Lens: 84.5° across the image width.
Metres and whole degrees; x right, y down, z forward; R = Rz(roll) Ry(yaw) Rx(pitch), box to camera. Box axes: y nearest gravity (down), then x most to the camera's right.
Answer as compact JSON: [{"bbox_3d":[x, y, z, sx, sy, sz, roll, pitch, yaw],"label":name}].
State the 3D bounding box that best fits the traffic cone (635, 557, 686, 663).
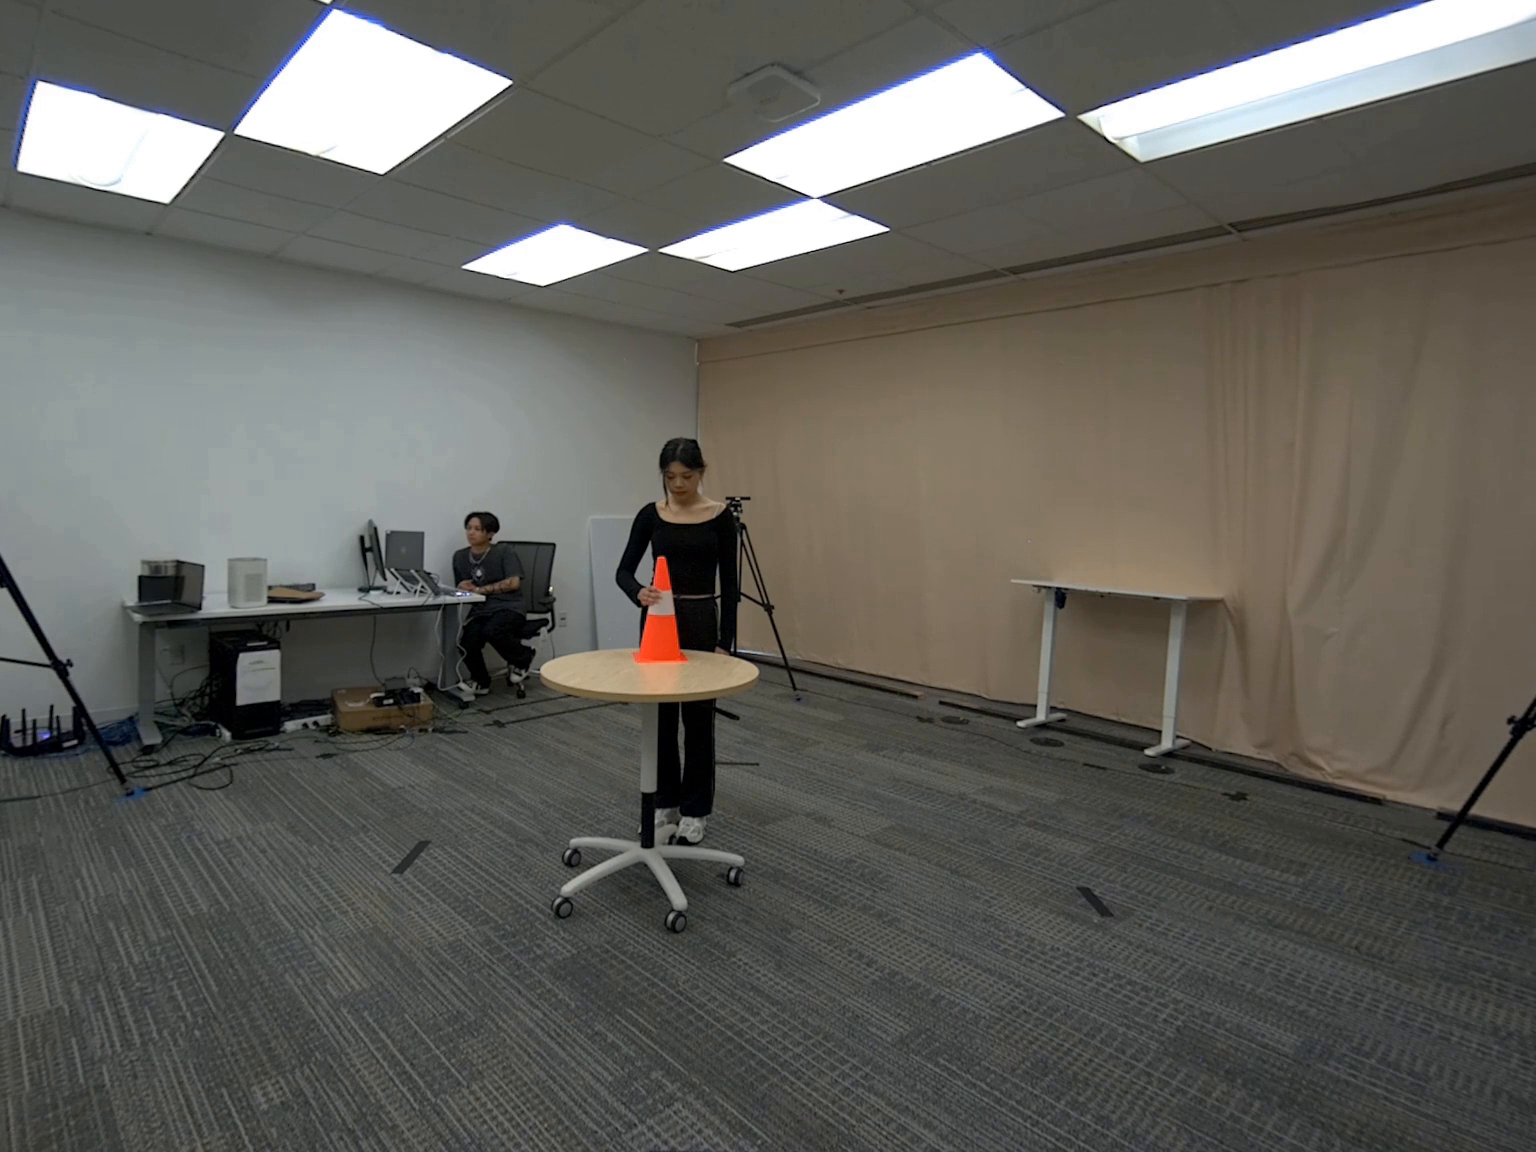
[{"bbox_3d":[-0.419,0.123,3.179,0.205,0.383,0.203,1,2,0],"label":"traffic cone"}]
